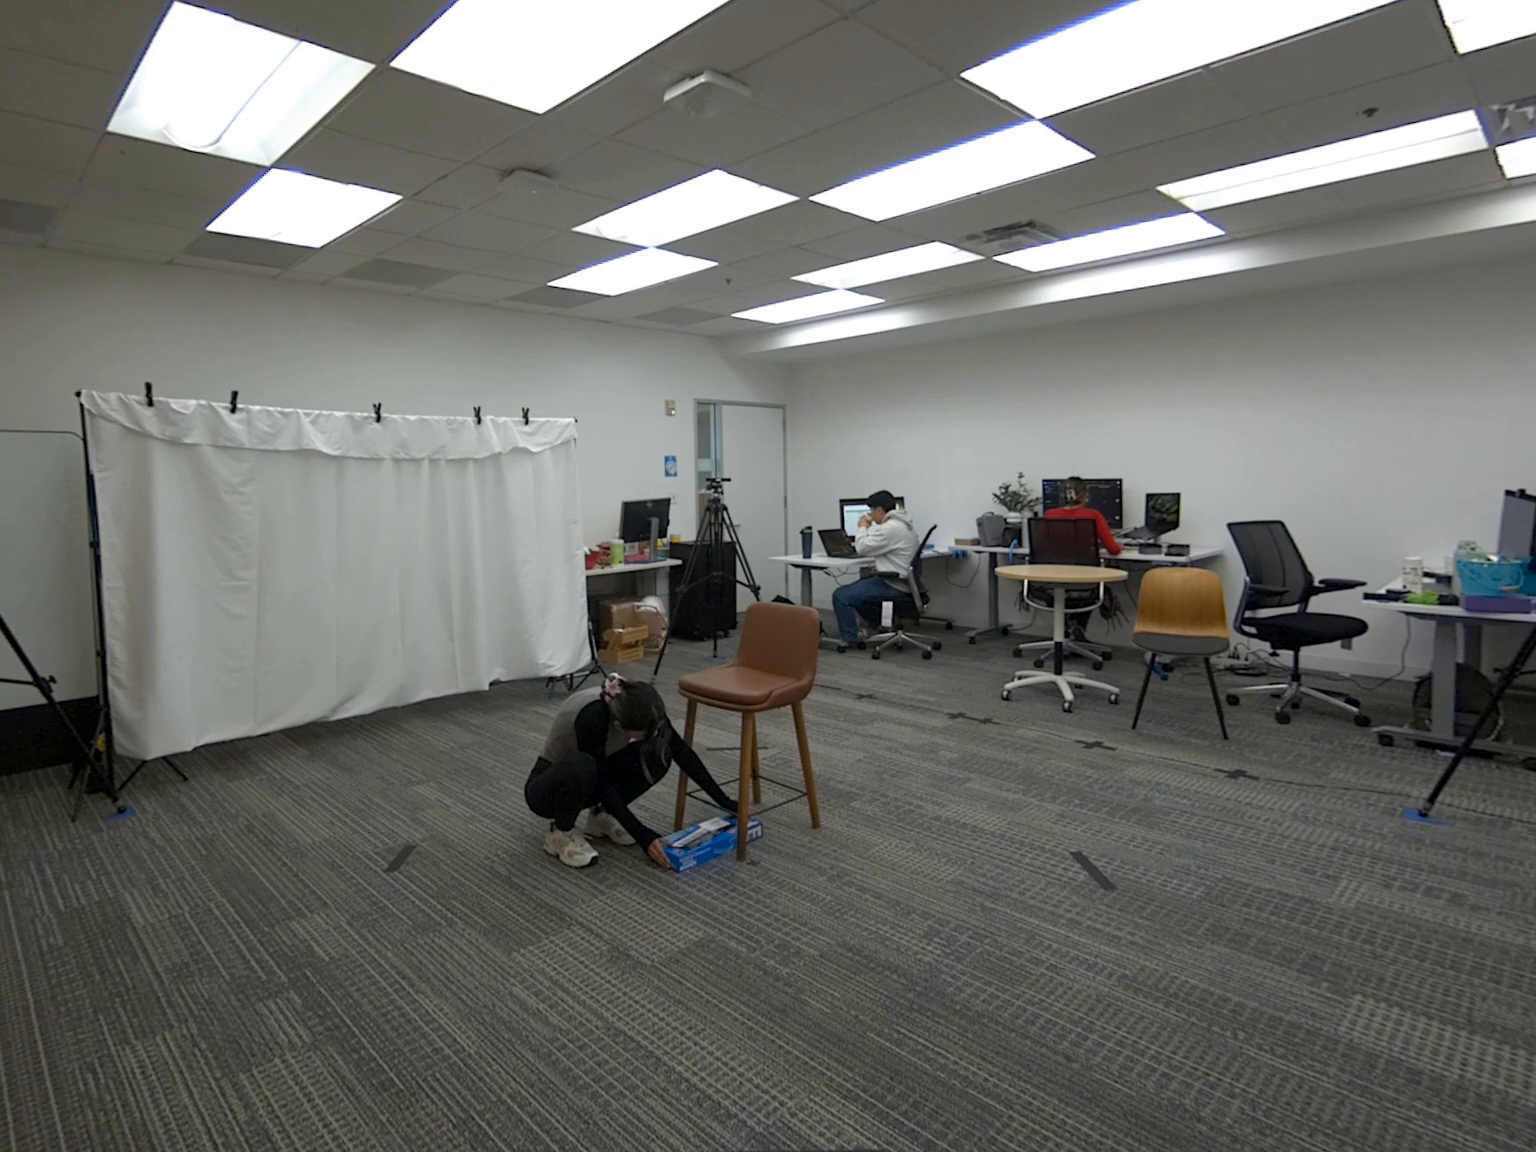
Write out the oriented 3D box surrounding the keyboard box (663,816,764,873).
[{"bbox_3d":[-0.232,0.997,3.245,0.181,0.059,0.425,7,10,44],"label":"keyboard box"}]
